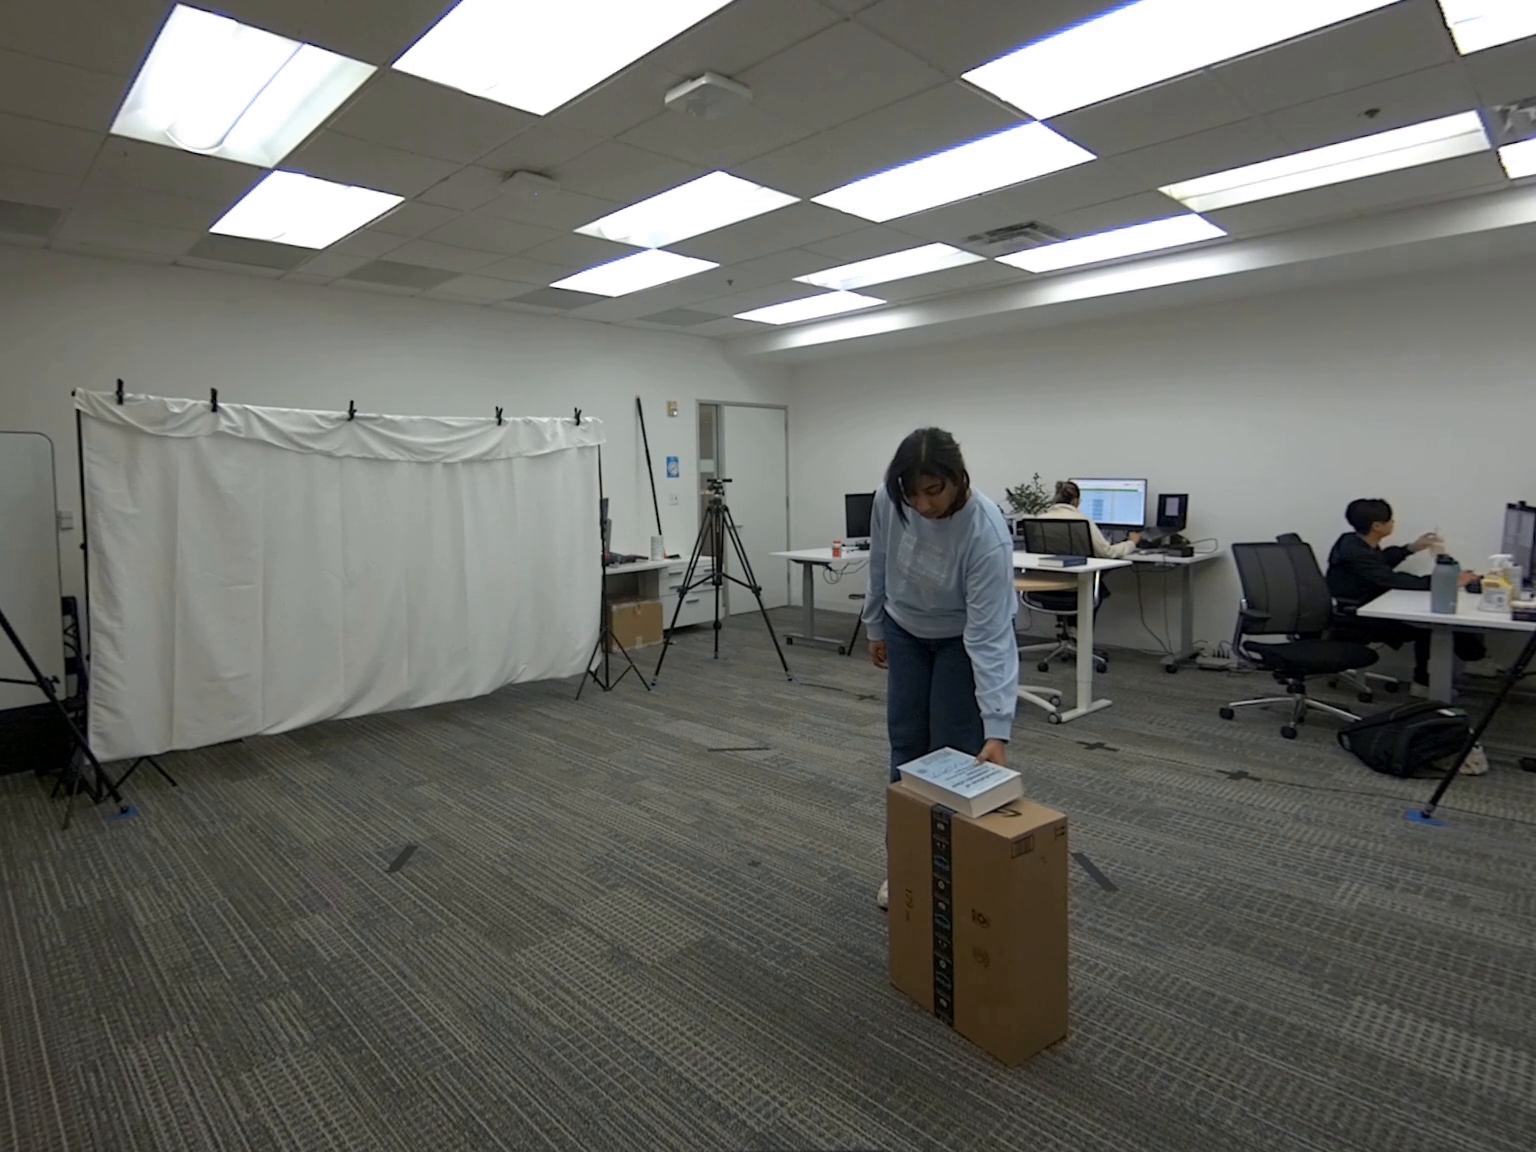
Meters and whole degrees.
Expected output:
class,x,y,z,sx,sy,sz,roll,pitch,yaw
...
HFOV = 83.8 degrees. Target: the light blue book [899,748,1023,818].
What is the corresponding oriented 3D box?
class,x,y,z,sx,sy,sz,roll,pitch,yaw
light blue book,0.492,0.533,2.232,0.188,0.058,0.268,-15,13,-30
